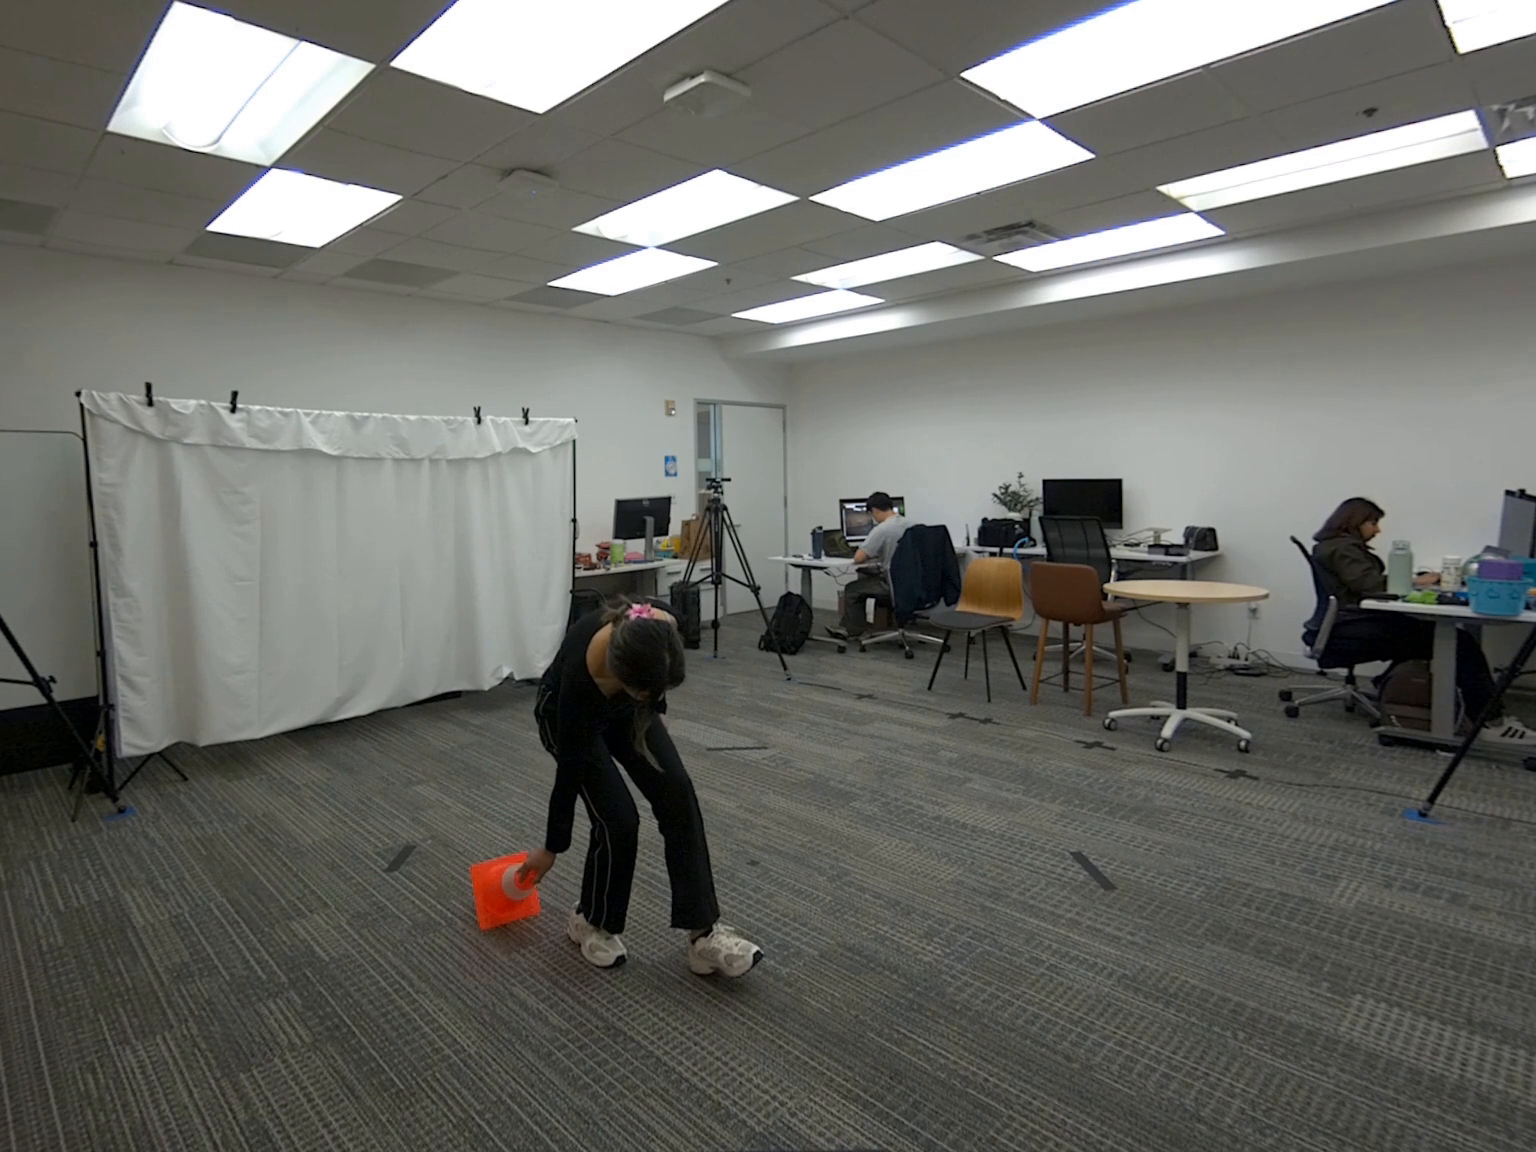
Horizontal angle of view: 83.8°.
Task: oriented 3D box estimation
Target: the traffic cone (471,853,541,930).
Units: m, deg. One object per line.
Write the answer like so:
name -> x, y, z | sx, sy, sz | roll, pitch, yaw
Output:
traffic cone -> -0.753, 0.933, 2.609 | 0.200, 0.208, 0.383 | -5, -23, -31
